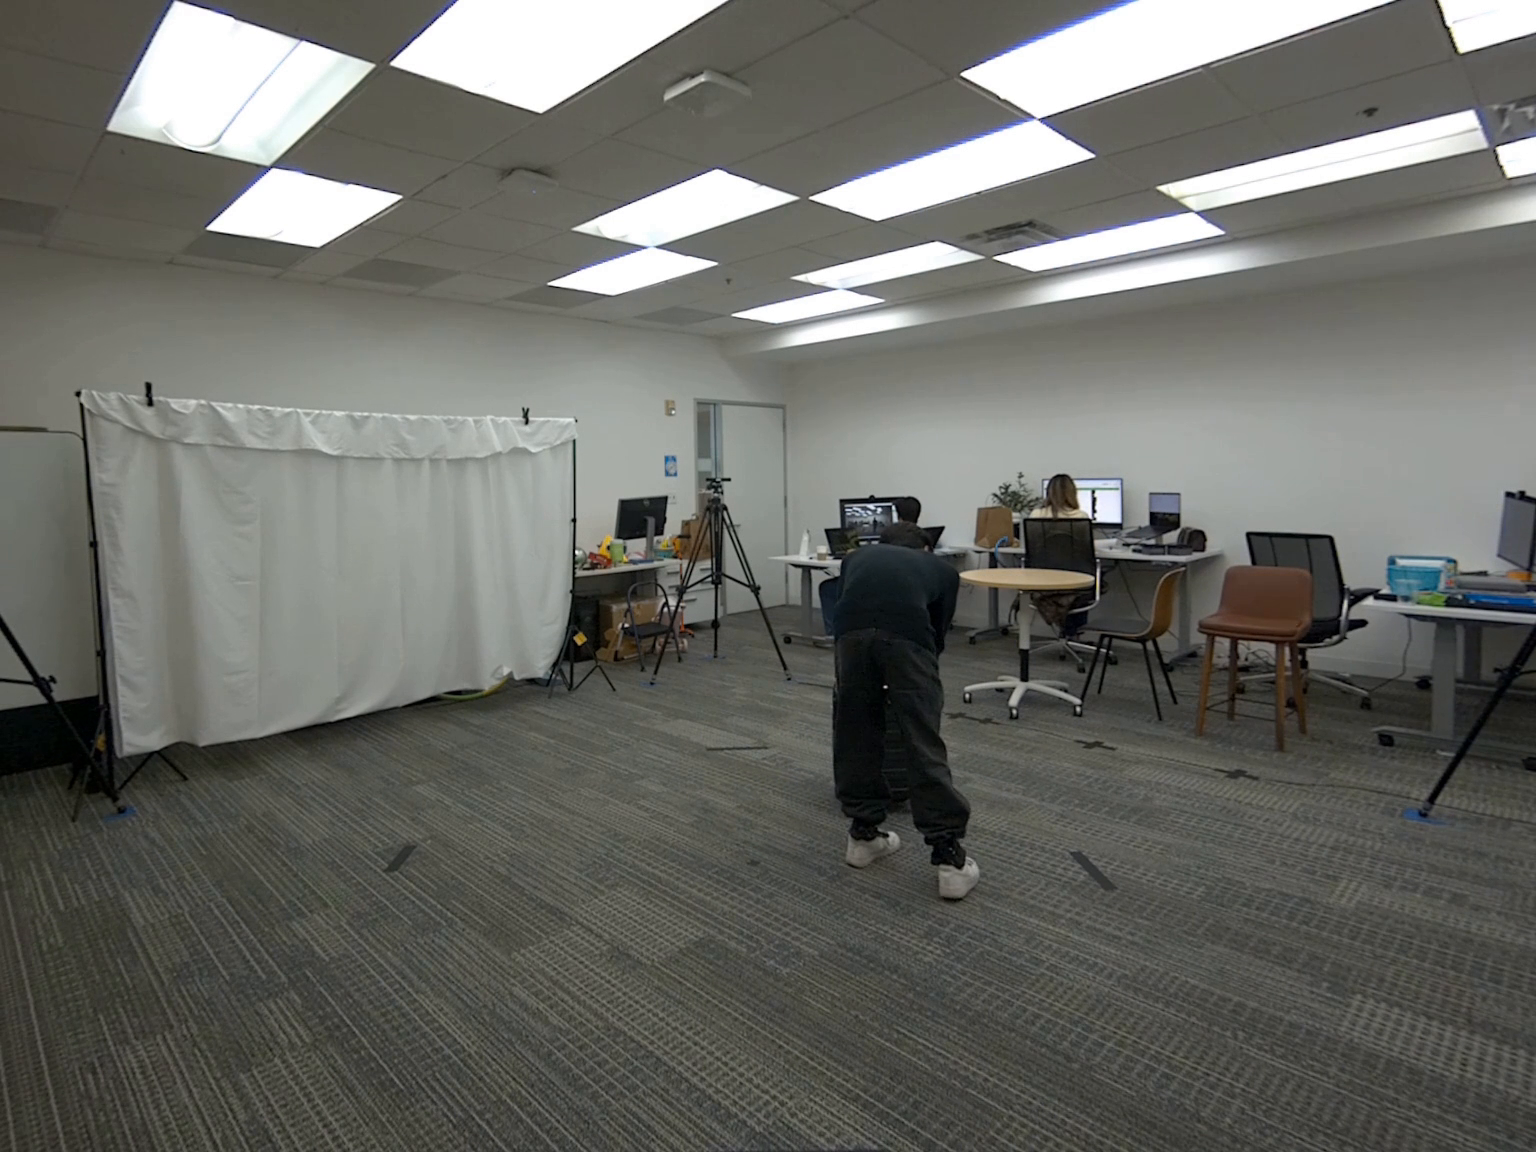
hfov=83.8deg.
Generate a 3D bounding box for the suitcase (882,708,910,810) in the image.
[{"bbox_3d":[0.473,0.702,3.636,0.374,0.548,0.249,-2,2,-3],"label":"suitcase"}]
